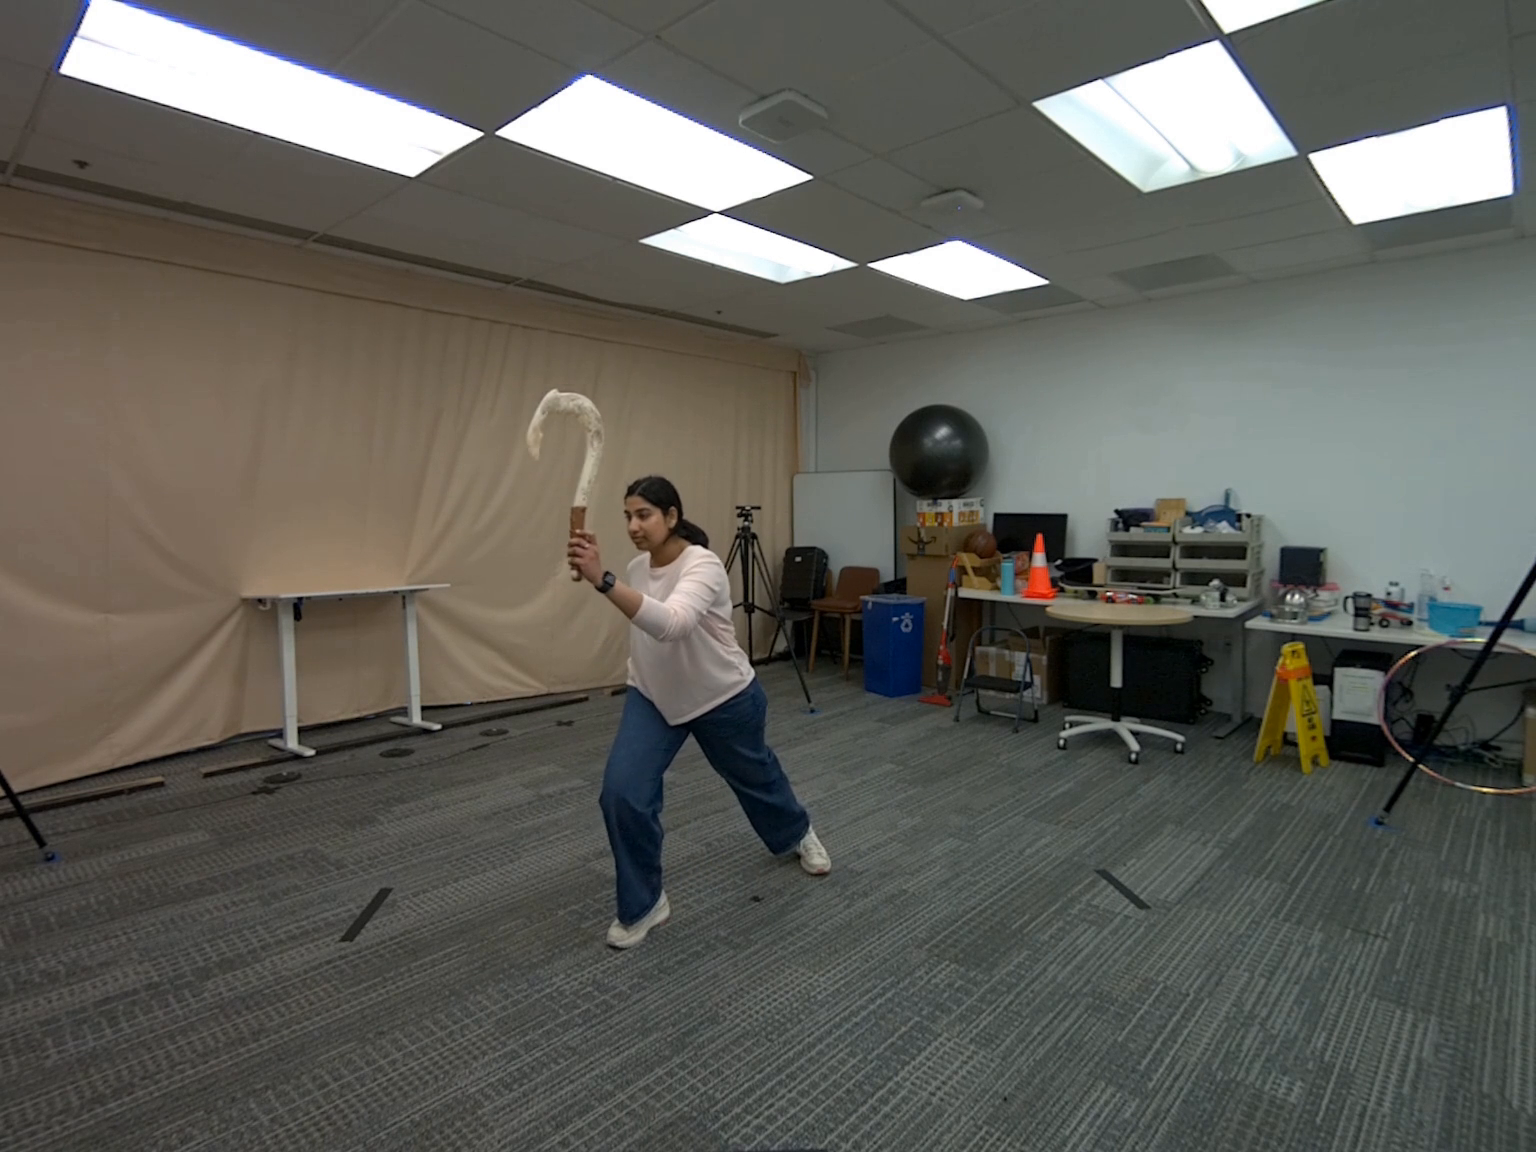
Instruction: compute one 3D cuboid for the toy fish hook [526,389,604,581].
[{"bbox_3d":[-0.536,-0.240,2.246,0.218,0.507,0.050,3,-3,-35],"label":"toy fish hook"}]
